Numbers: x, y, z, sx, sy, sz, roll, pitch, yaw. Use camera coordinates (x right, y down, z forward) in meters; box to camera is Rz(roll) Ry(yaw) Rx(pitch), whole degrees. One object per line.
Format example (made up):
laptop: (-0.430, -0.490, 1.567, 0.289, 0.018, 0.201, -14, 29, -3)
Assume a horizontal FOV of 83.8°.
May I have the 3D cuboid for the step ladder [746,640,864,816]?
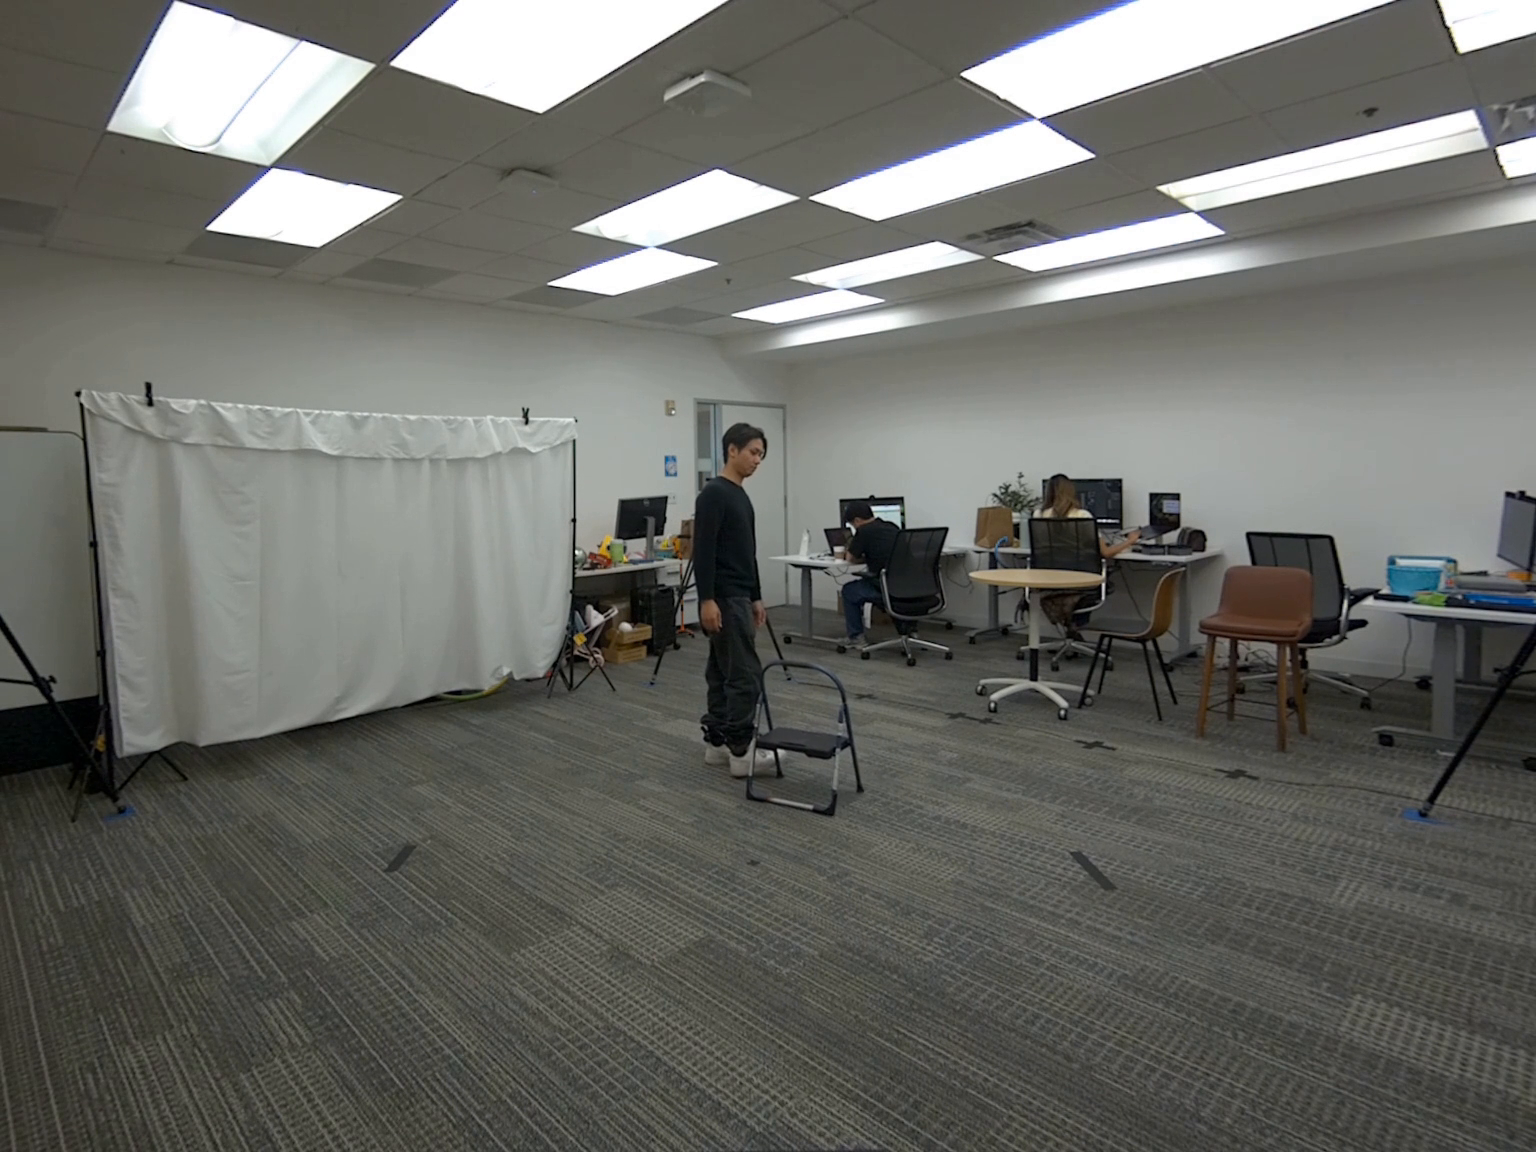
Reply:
step ladder: (0.163, 0.664, 3.743, 0.441, 0.604, 0.342, 1, 4, 29)
